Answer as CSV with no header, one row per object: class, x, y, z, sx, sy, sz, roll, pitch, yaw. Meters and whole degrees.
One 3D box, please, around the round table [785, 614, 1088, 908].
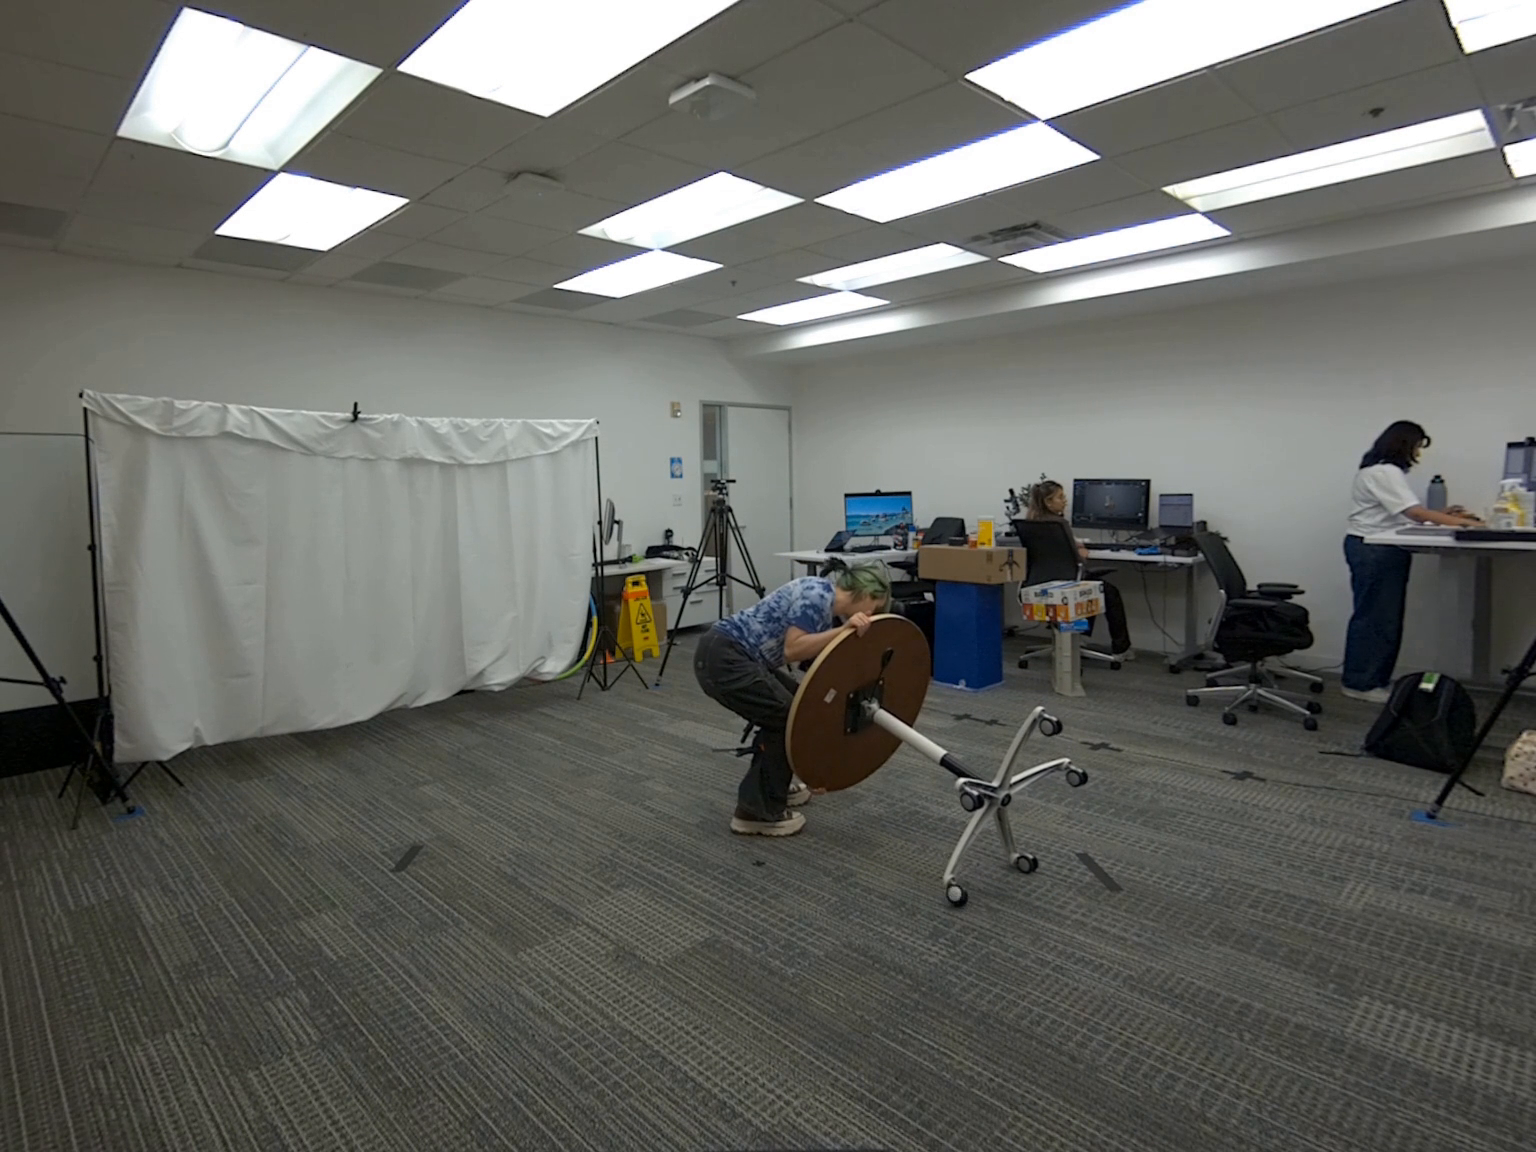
round table,0.608,0.642,3.107,0.744,0.754,0.825,-5,23,-39
